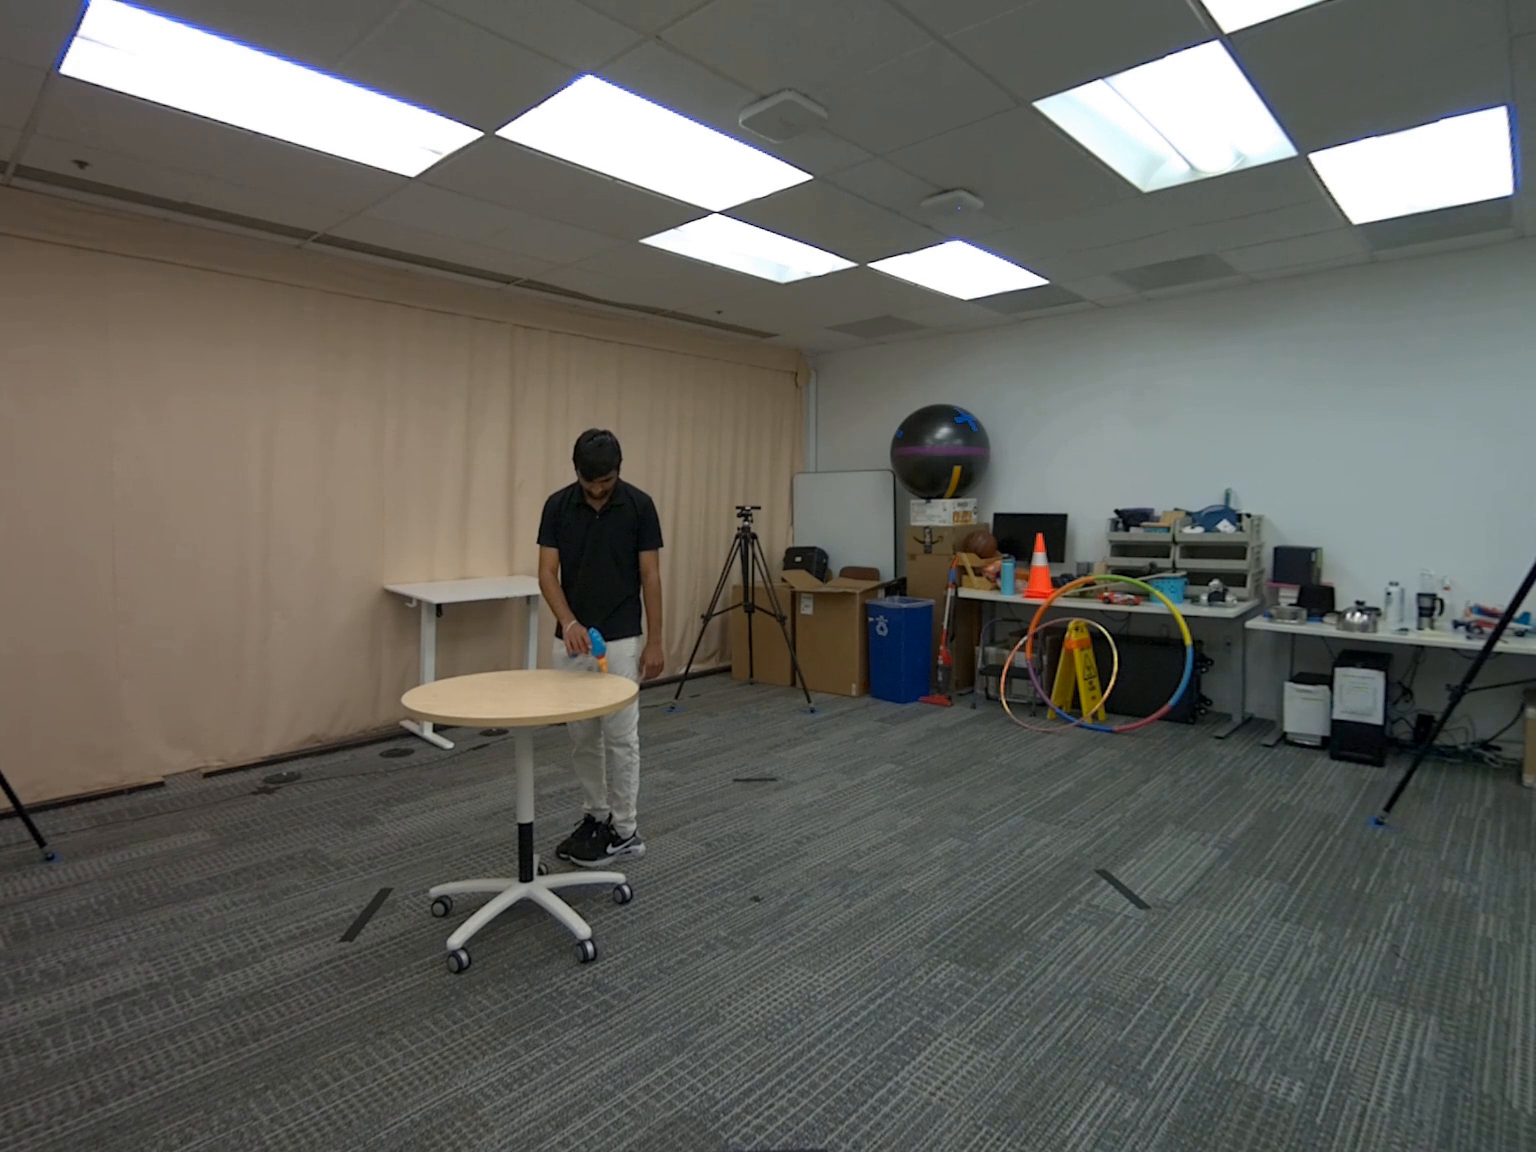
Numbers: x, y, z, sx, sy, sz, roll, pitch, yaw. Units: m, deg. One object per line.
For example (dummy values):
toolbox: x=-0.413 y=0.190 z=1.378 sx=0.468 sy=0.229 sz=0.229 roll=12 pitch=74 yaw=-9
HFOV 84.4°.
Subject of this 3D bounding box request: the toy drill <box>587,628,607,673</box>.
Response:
toy drill: x=-0.655 y=0.276 z=3.055 sx=0.149 sy=0.169 sz=0.060 roll=-15 pitch=2 yaw=21
